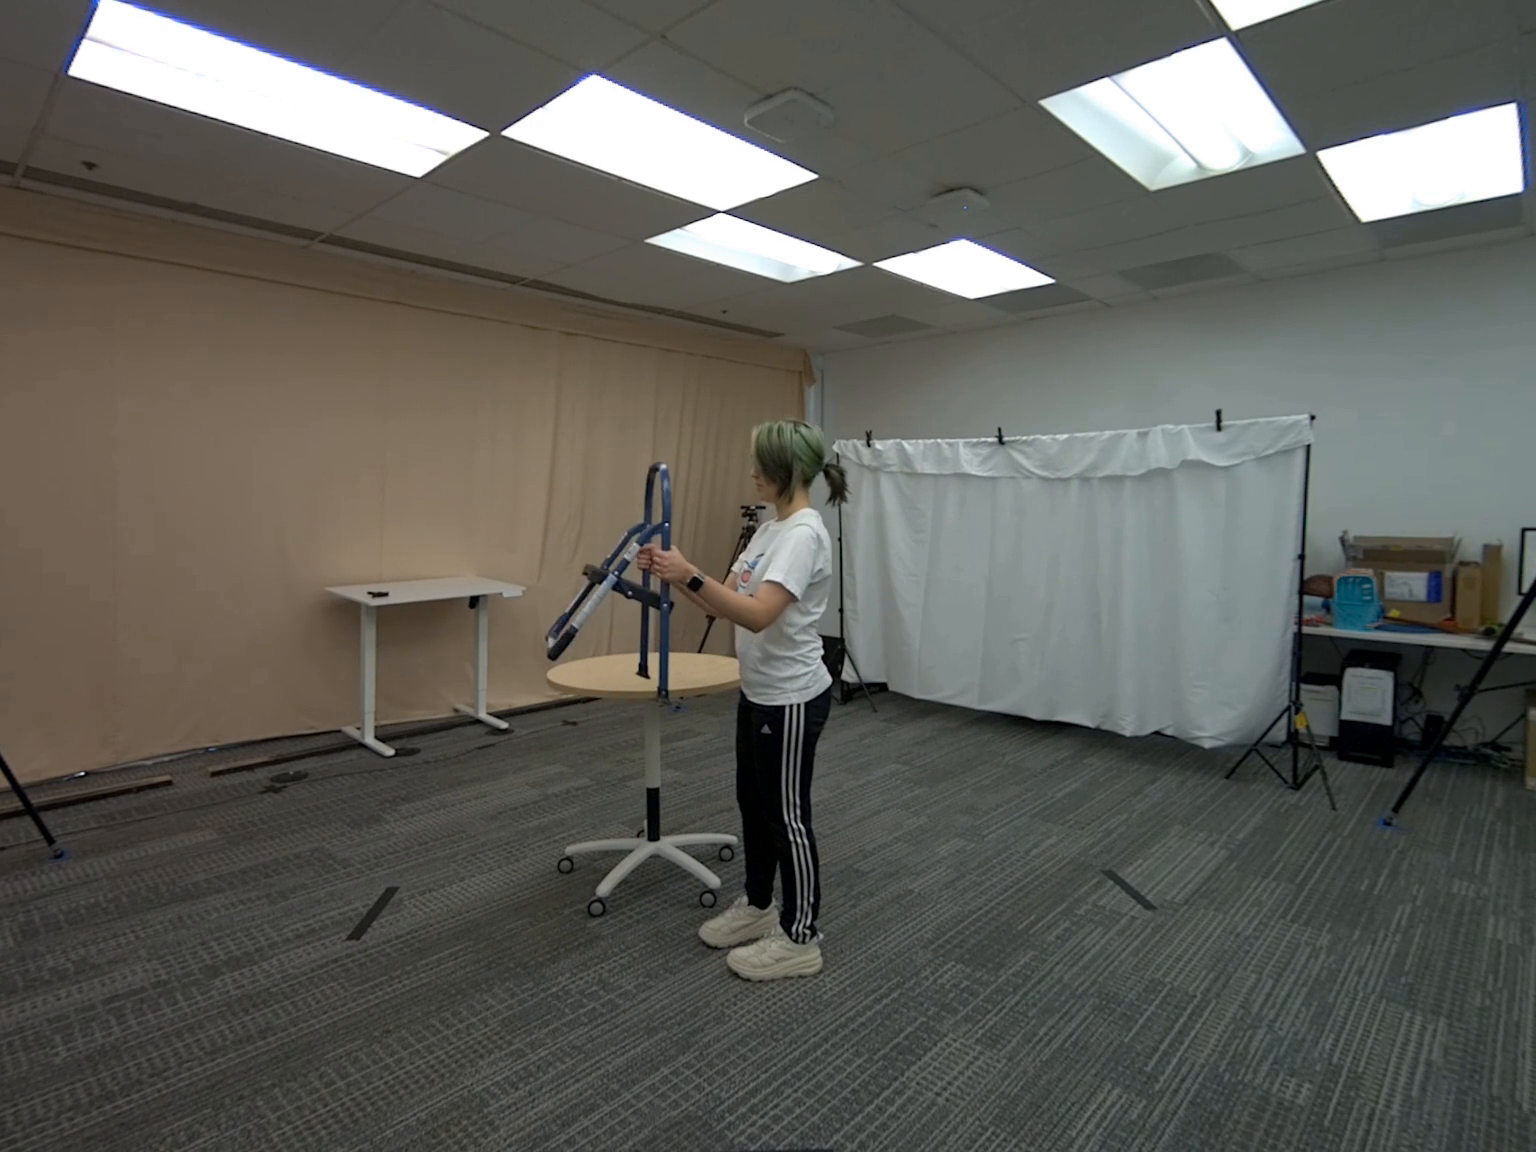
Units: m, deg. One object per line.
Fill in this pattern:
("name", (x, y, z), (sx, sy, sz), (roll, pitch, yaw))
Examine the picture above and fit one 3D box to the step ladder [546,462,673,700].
("step ladder", (-0.361, -0.007, 2.422), (0.343, 0.606, 0.437), (22, -4, -15))
